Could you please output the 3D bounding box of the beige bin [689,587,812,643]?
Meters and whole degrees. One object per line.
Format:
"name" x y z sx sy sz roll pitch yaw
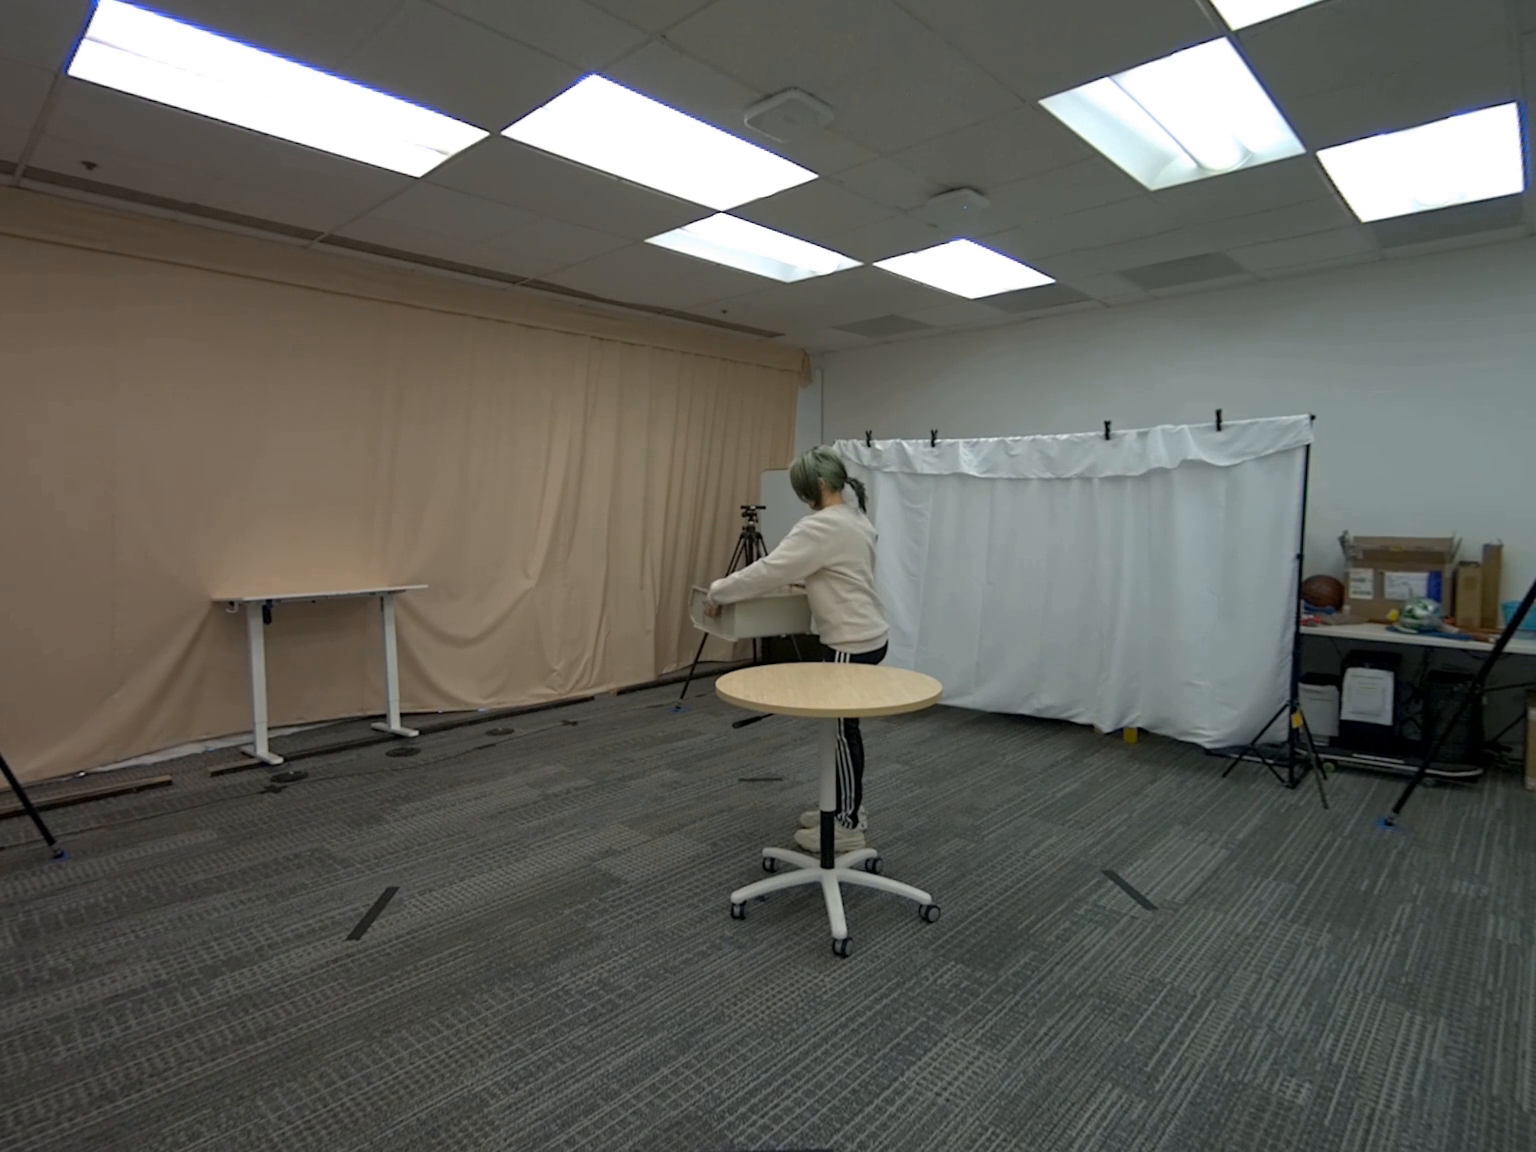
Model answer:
"beige bin" -0.076 0.145 3.630 0.410 0.188 0.390 -3 11 -33
